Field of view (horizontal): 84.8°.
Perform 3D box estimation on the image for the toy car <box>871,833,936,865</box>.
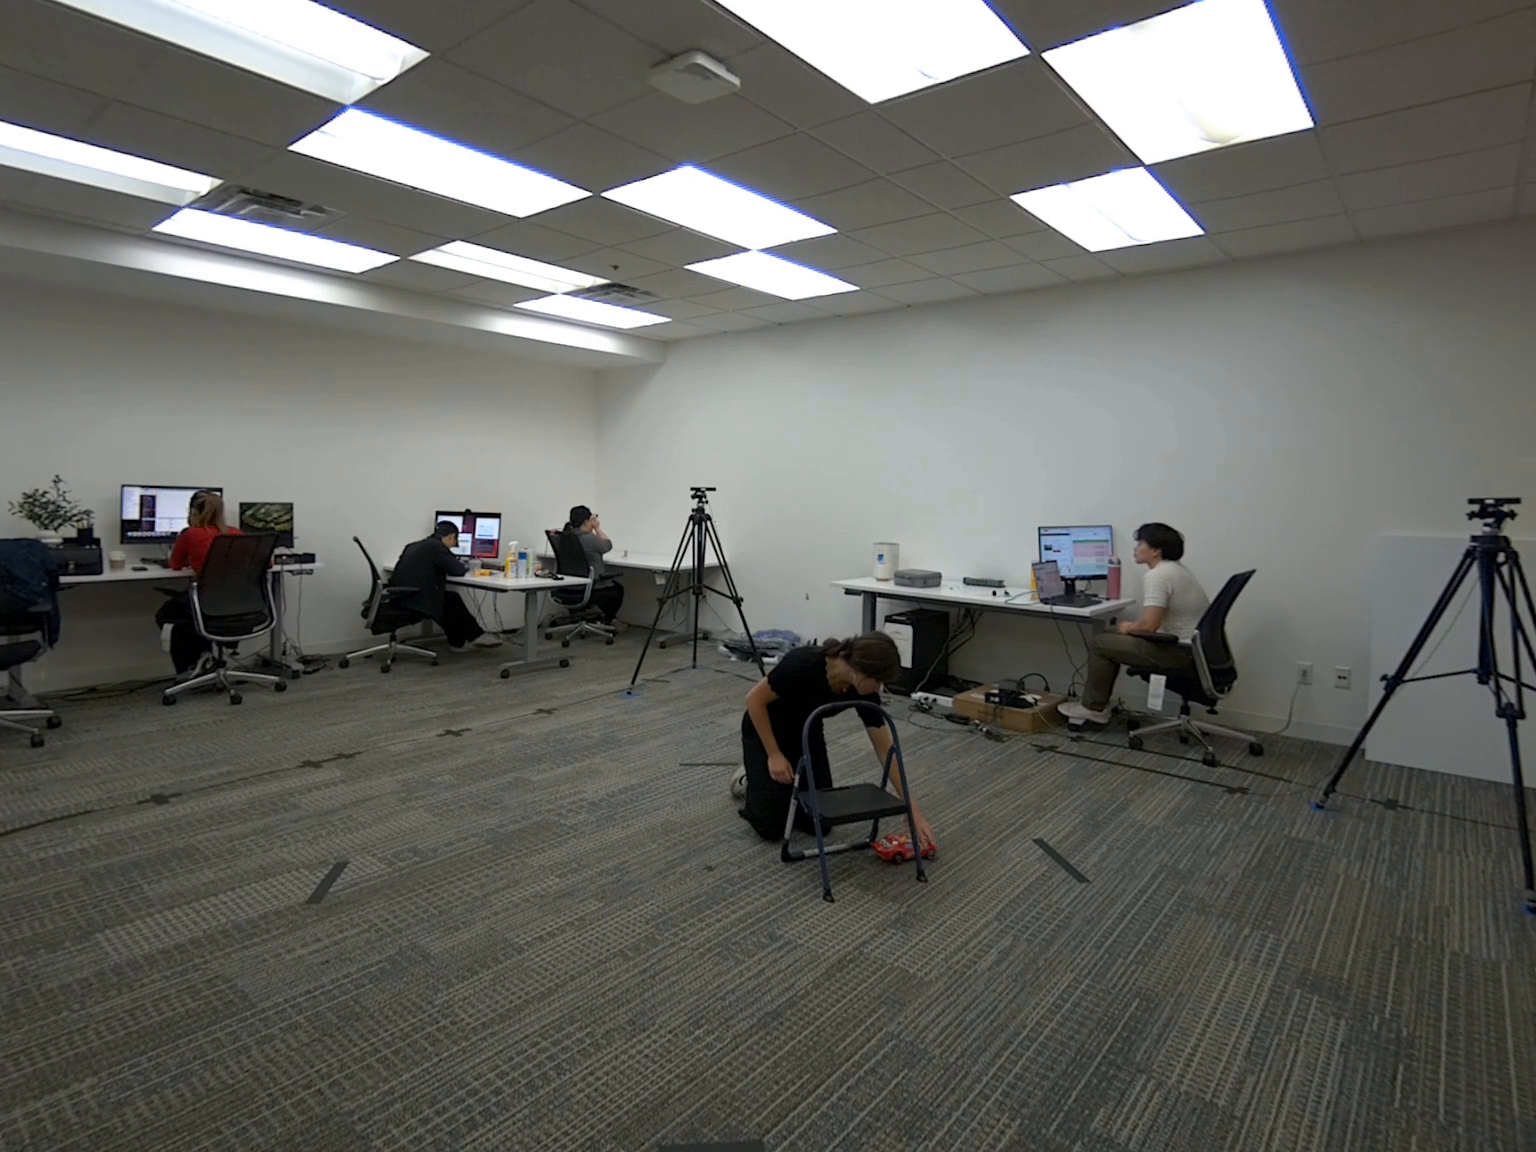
[{"bbox_3d":[0.505,1.037,3.246,0.248,0.083,0.133,11,-1,-21],"label":"toy car"}]
